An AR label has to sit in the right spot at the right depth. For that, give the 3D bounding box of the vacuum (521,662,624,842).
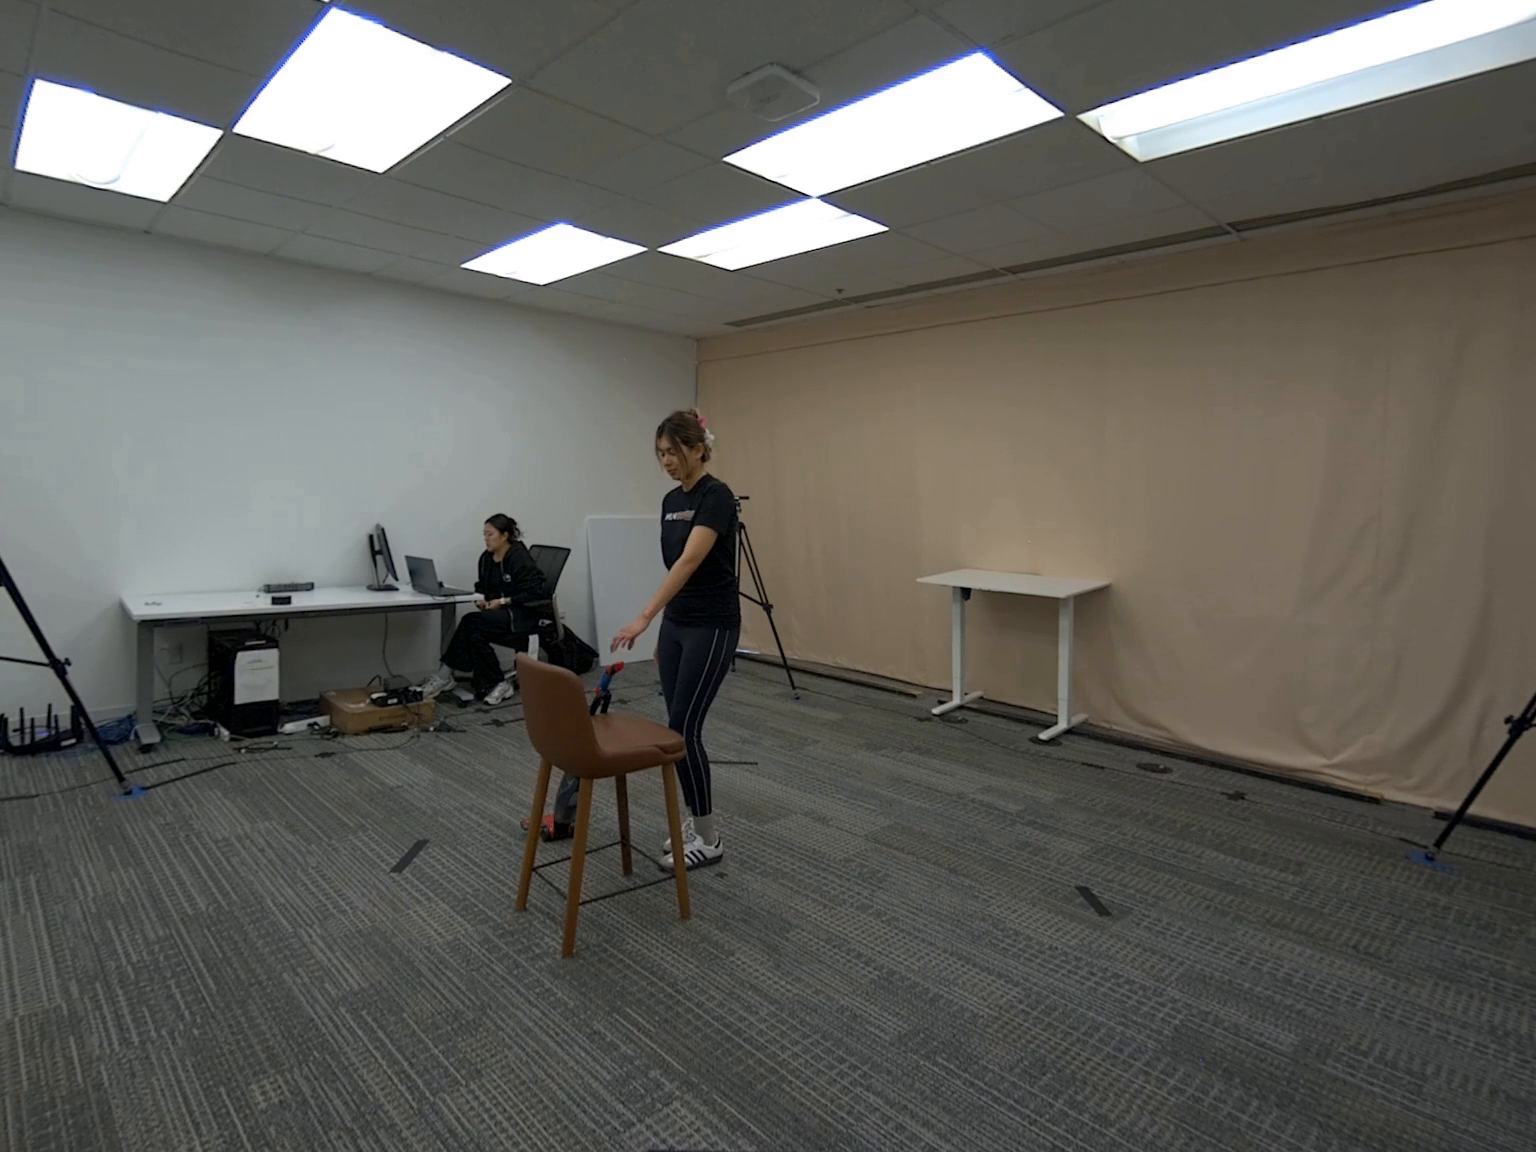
[{"bbox_3d":[-0.693,0.670,3.140,0.247,1.040,0.148,-5,47,-38],"label":"vacuum"}]
